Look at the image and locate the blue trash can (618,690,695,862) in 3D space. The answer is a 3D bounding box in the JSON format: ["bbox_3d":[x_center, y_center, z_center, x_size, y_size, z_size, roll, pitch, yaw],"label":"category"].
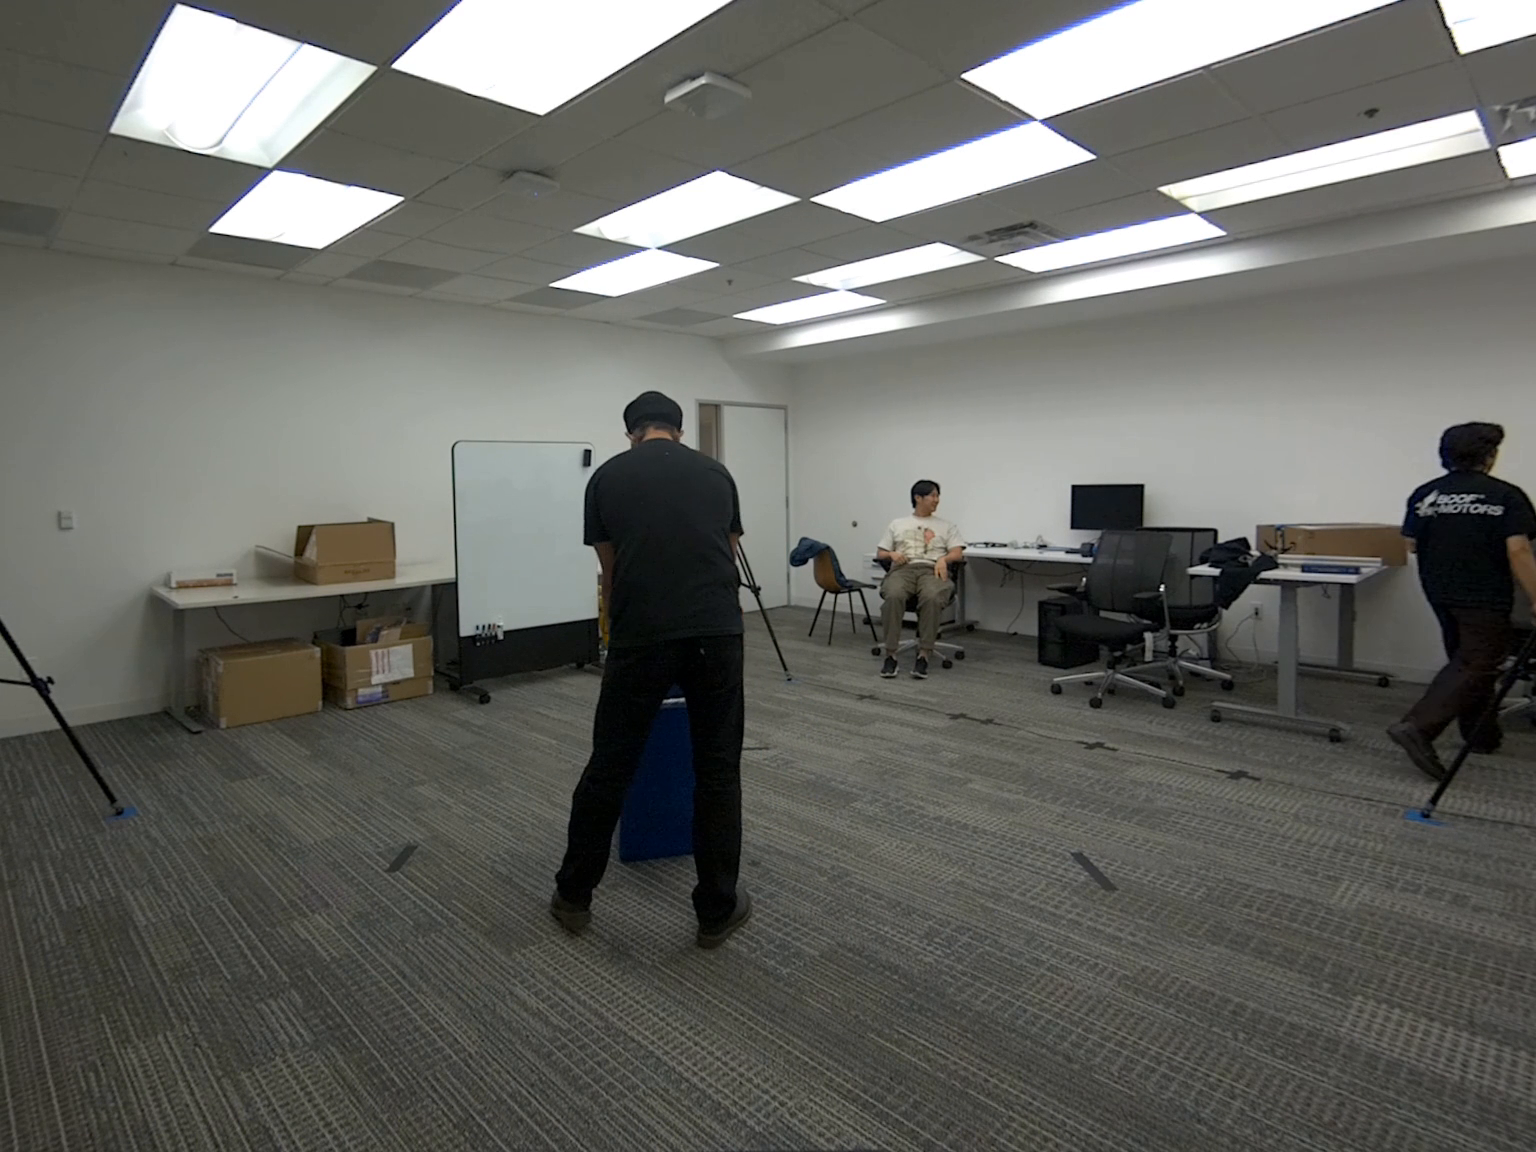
[{"bbox_3d":[-0.398,0.662,3.143,0.372,0.701,0.386,-2,24,-18],"label":"blue trash can"}]
